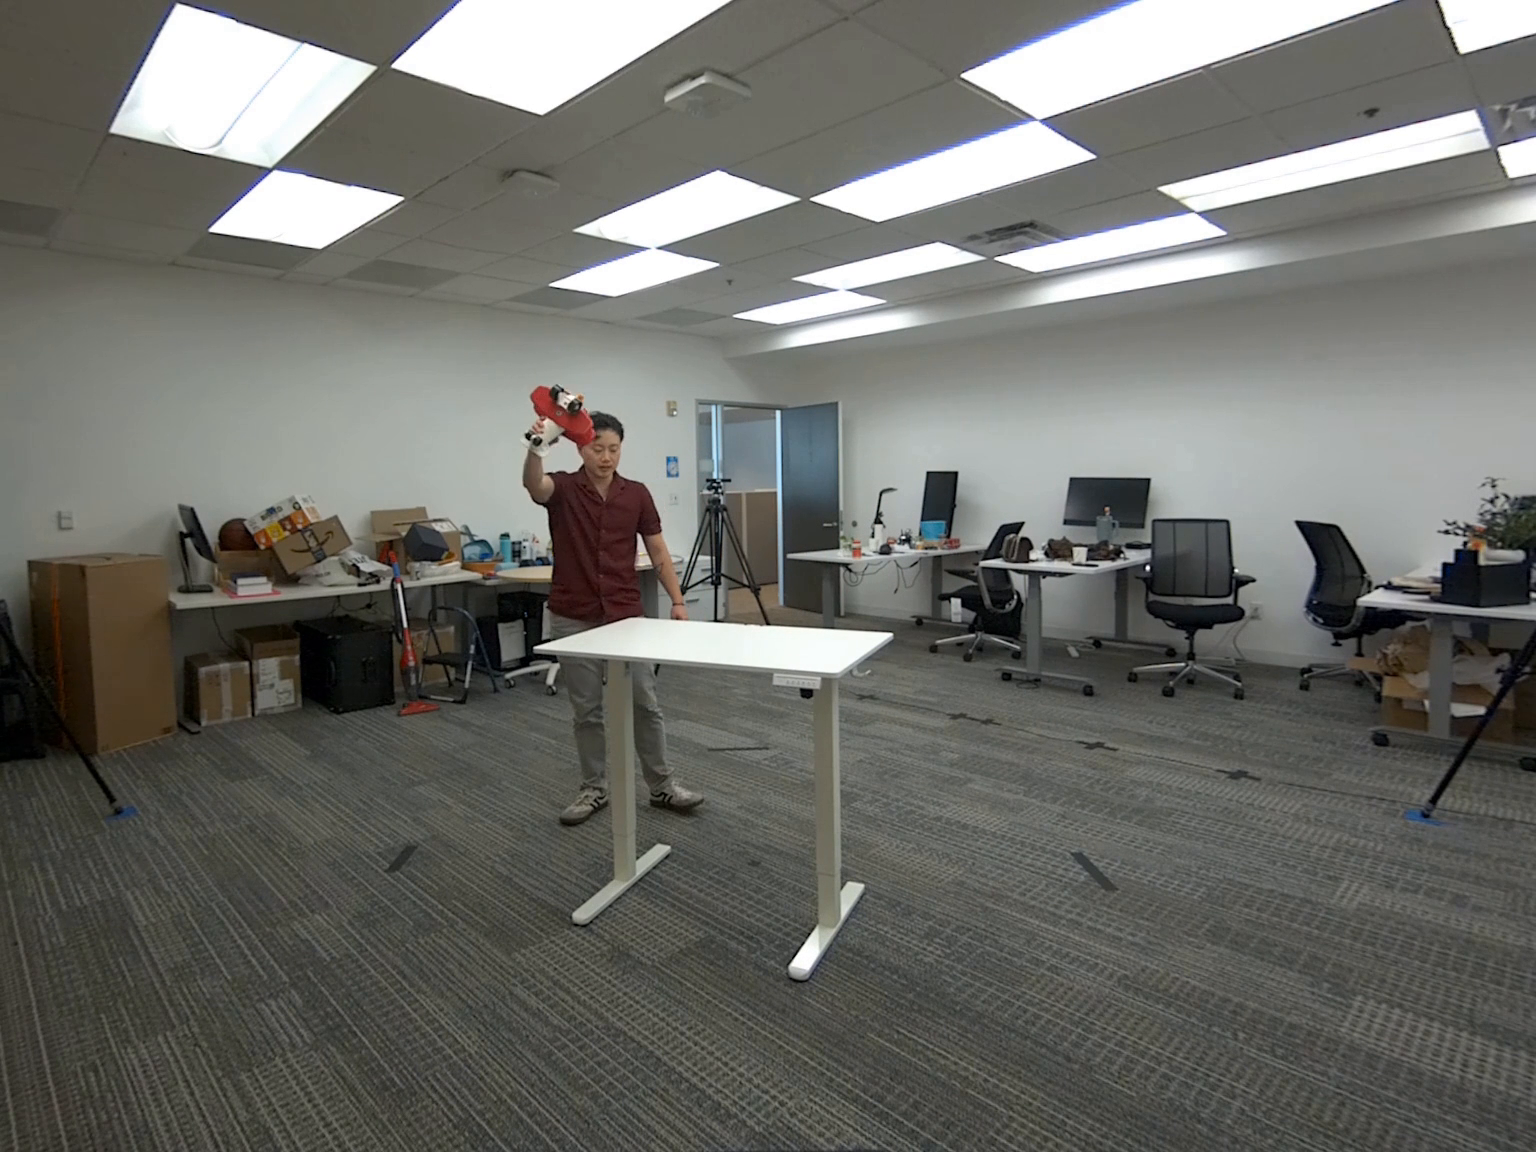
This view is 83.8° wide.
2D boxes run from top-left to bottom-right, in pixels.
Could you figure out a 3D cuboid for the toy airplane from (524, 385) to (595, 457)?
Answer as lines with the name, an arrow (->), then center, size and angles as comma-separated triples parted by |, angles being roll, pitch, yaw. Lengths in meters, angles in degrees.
toy airplane -> -0.760, -0.554, 3.012 | 0.259, 0.254, 0.154 | -26, -9, 0
